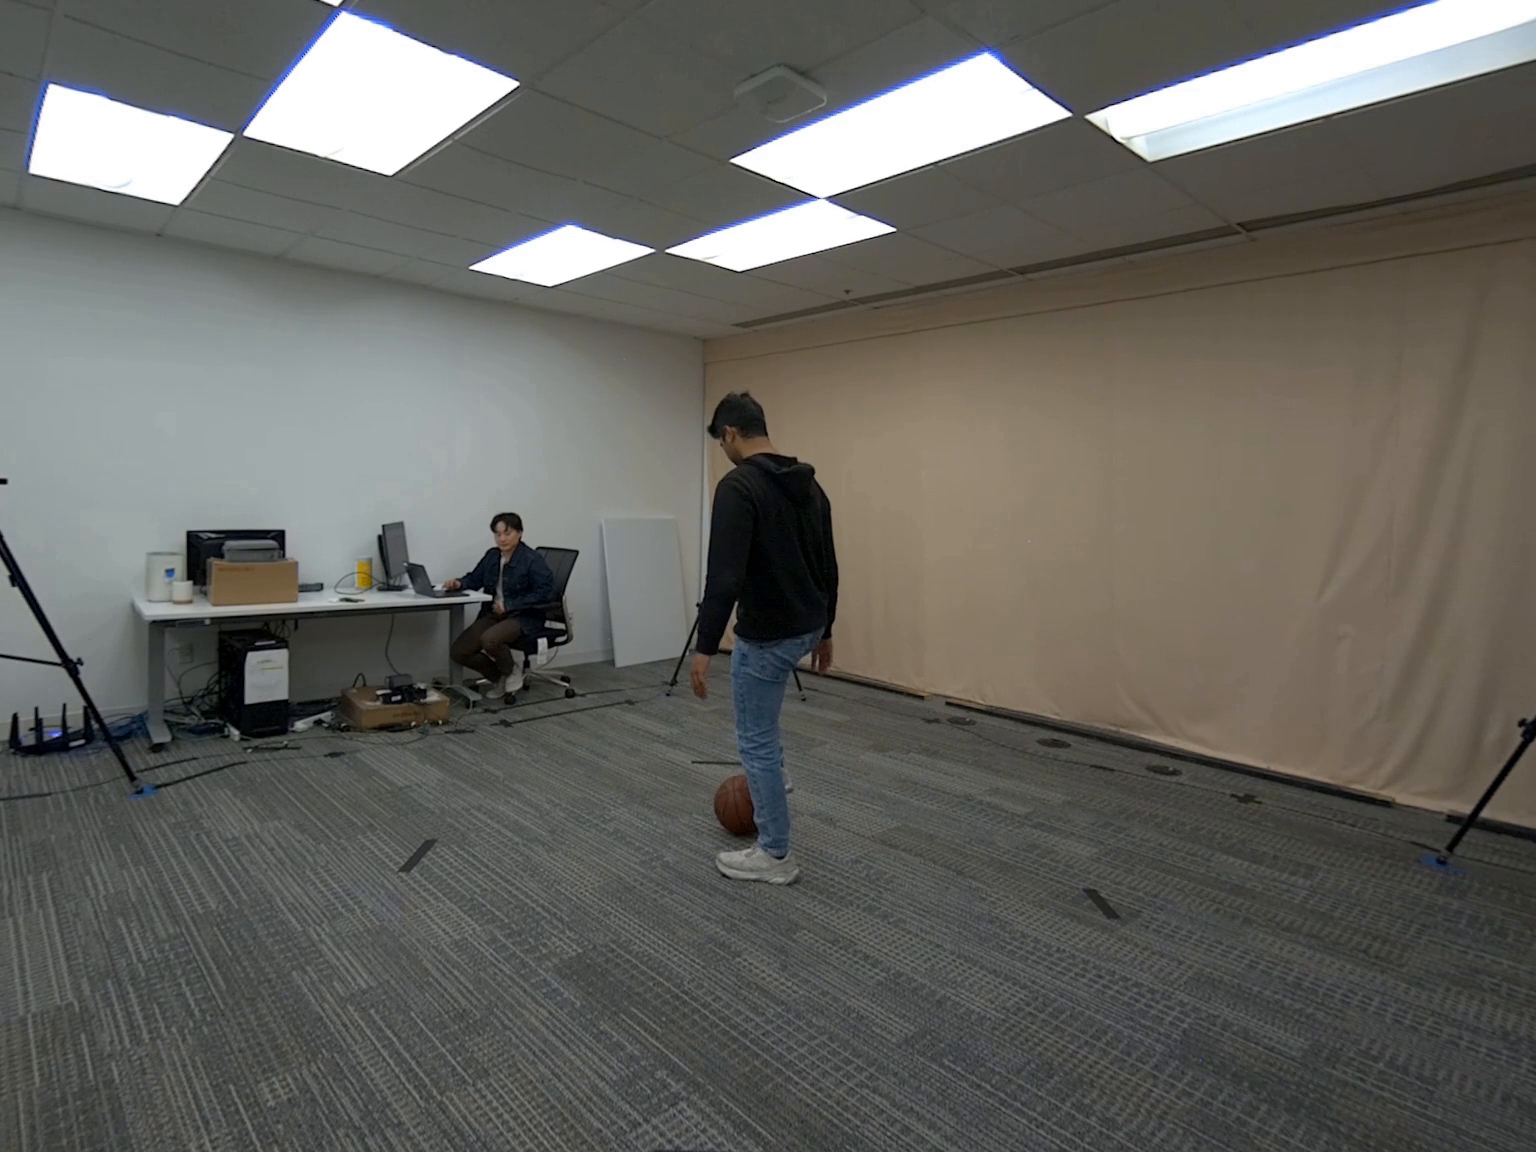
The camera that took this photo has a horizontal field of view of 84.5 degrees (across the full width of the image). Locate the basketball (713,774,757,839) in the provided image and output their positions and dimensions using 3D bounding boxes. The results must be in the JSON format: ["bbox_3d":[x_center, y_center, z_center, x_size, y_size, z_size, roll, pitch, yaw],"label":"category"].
[{"bbox_3d":[-0.119,0.950,3.518,0.236,0.235,0.237,1,4,-1],"label":"basketball"}]
